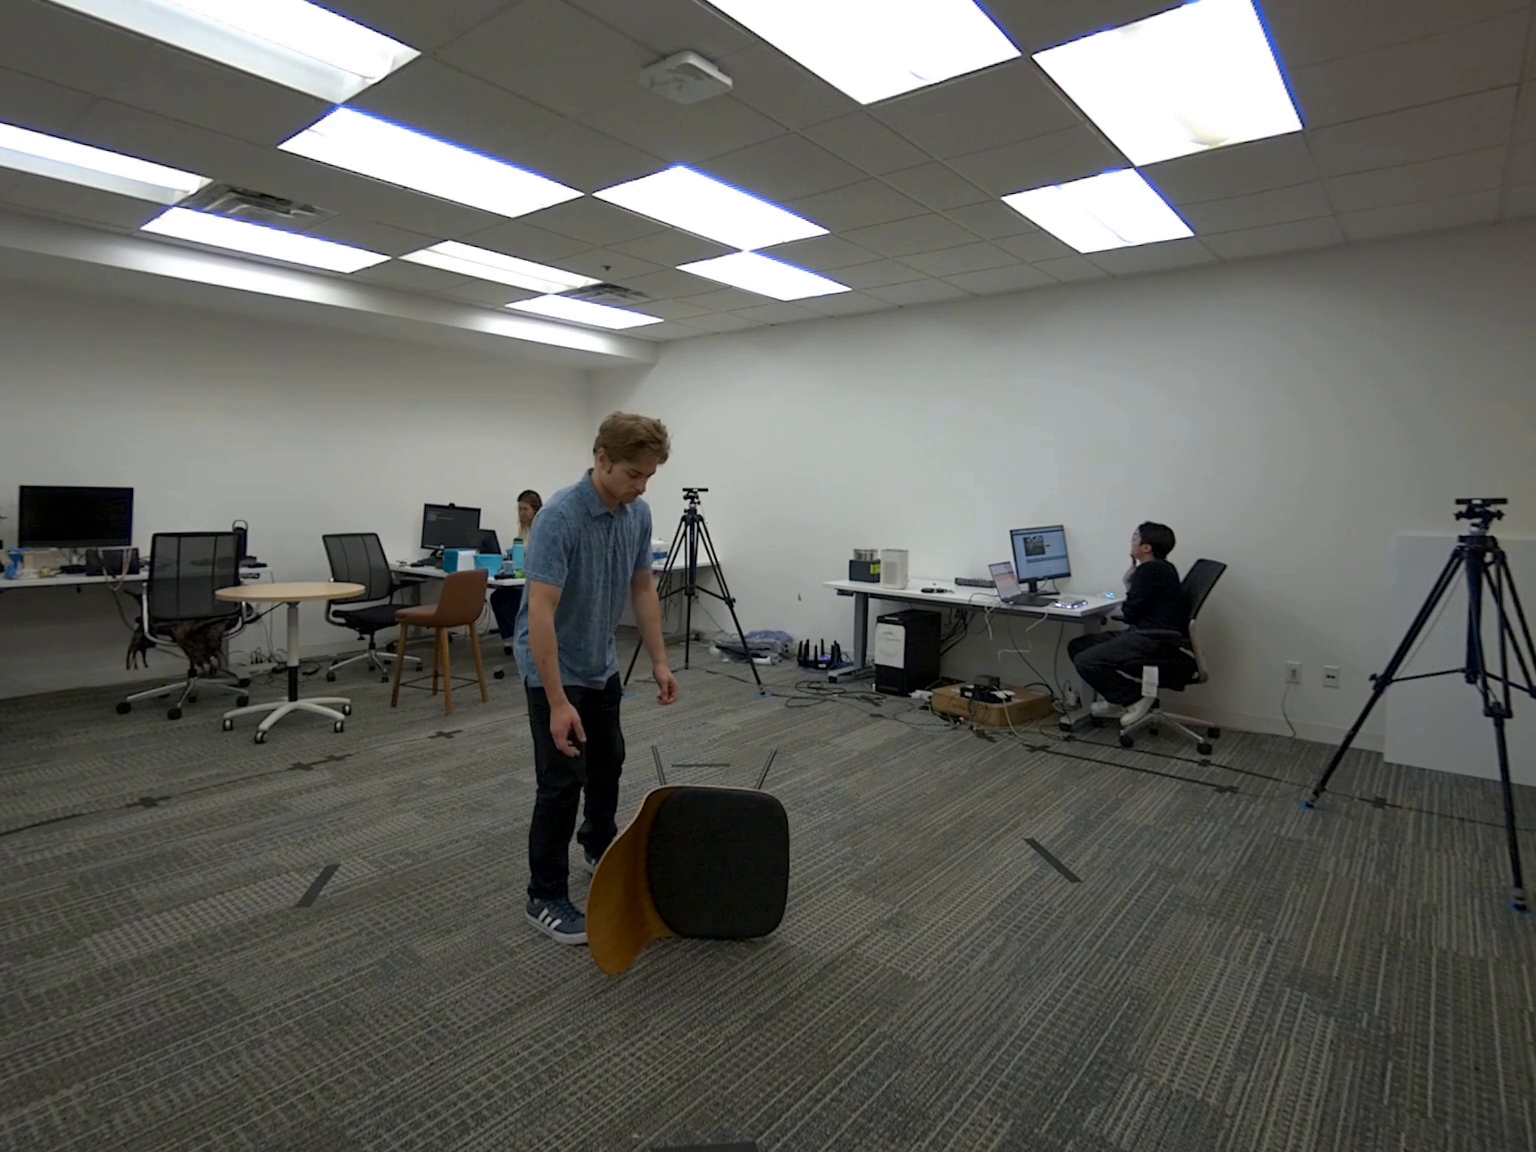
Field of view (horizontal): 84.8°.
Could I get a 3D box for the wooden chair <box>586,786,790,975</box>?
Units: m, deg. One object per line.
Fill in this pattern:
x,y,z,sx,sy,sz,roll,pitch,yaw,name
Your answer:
-0.200,0.882,2.663,0.527,0.477,0.873,2,4,6,wooden chair
